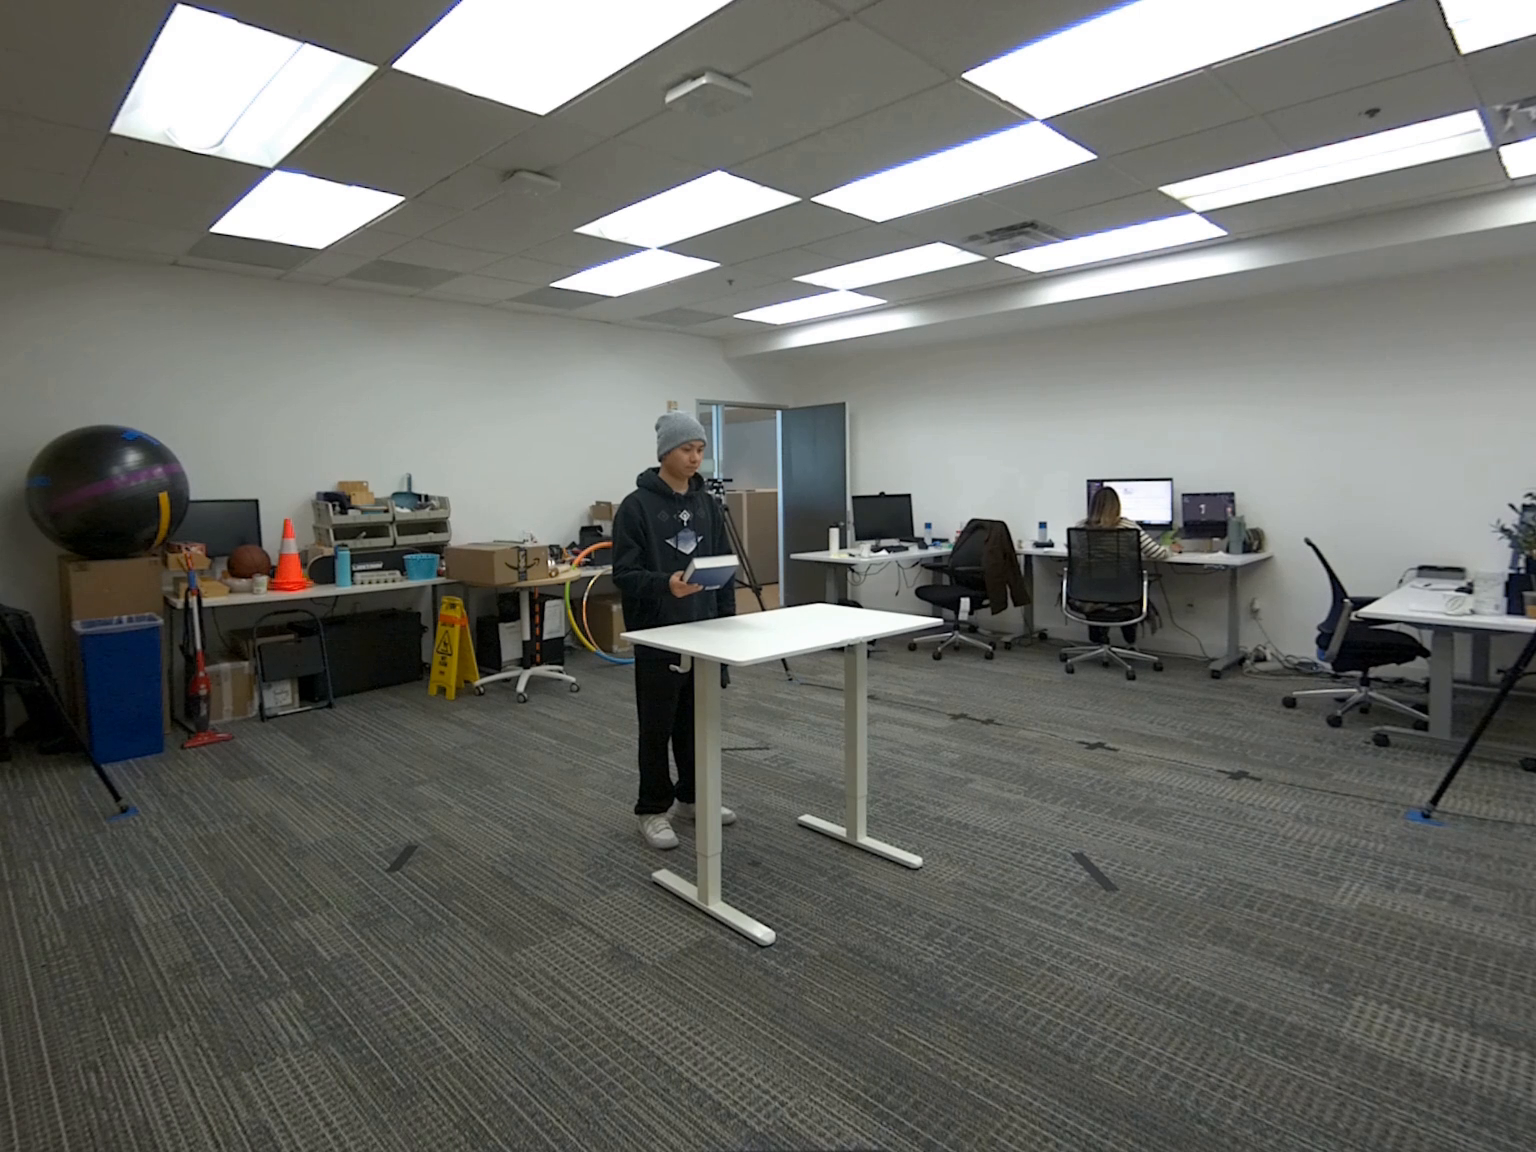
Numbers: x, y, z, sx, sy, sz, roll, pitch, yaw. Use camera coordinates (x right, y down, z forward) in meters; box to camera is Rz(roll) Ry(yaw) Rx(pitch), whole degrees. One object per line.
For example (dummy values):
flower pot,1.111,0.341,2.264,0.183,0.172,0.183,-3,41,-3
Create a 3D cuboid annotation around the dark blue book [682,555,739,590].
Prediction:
dark blue book,-0.212,-0.005,2.988,0.160,0.046,0.244,-6,-18,-21
